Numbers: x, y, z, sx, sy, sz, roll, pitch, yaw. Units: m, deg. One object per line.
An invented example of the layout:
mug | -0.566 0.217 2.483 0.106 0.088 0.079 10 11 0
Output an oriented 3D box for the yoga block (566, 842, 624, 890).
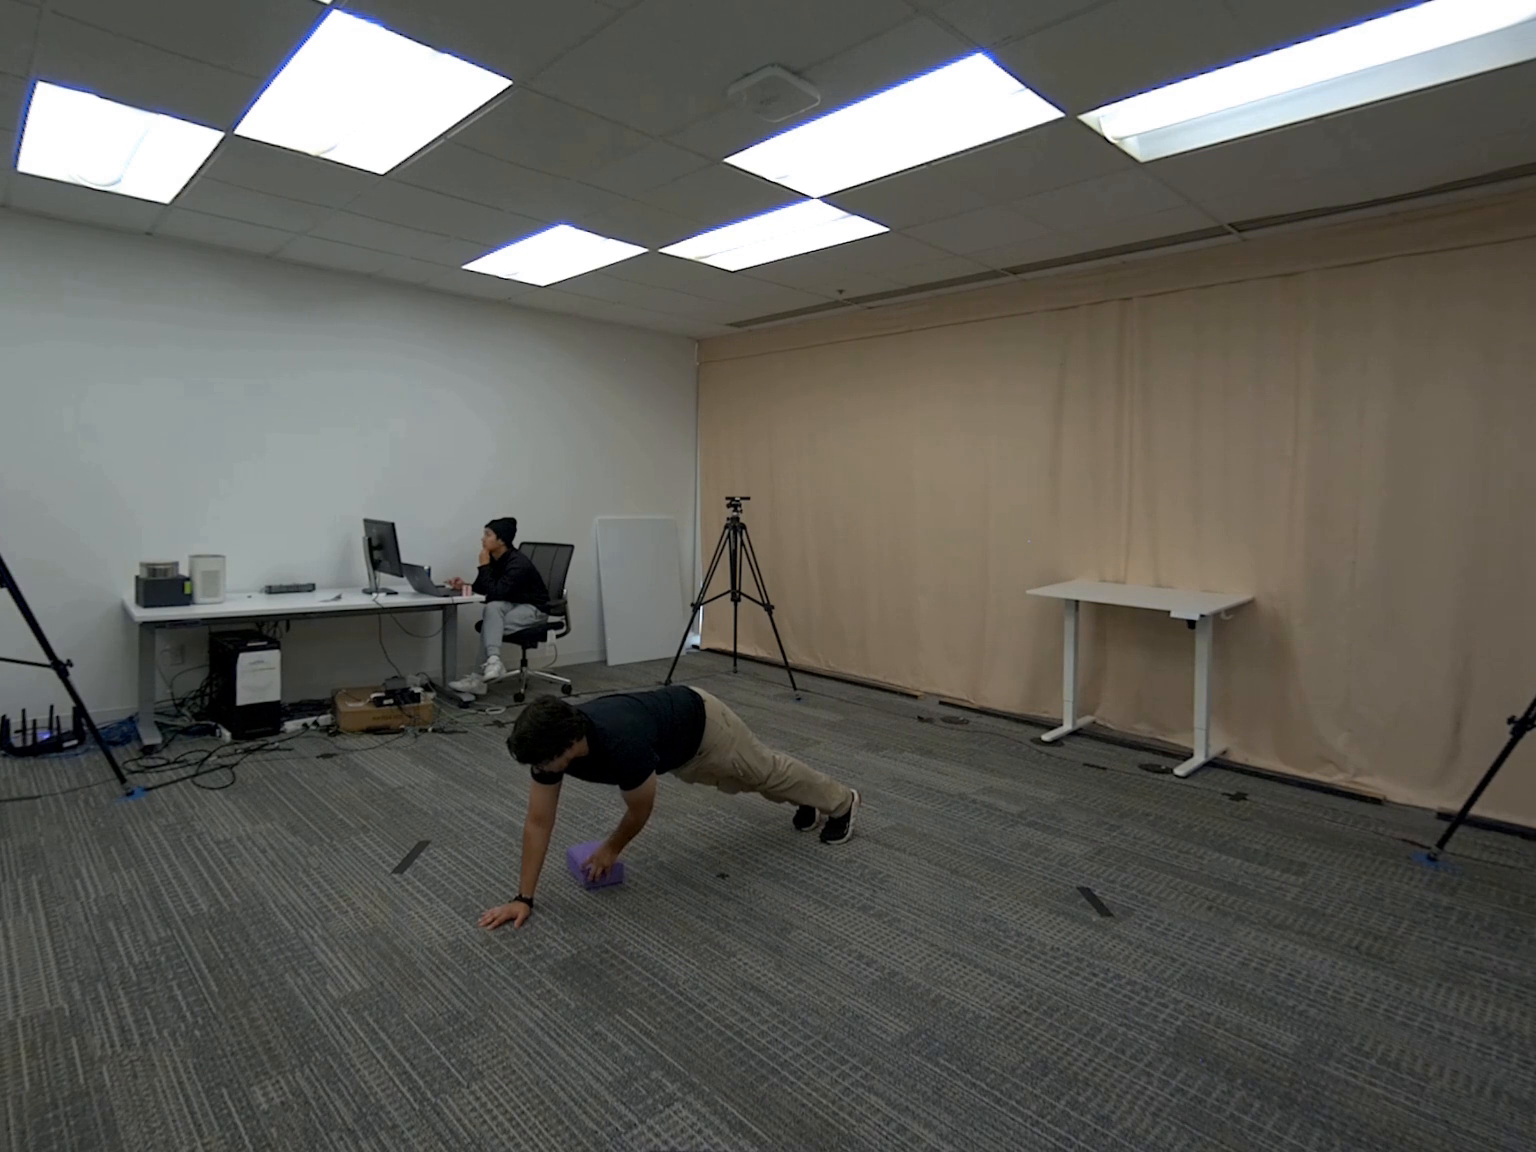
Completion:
yoga block | -0.642 1.060 3.090 0.146 0.076 0.234 -3 7 -29
